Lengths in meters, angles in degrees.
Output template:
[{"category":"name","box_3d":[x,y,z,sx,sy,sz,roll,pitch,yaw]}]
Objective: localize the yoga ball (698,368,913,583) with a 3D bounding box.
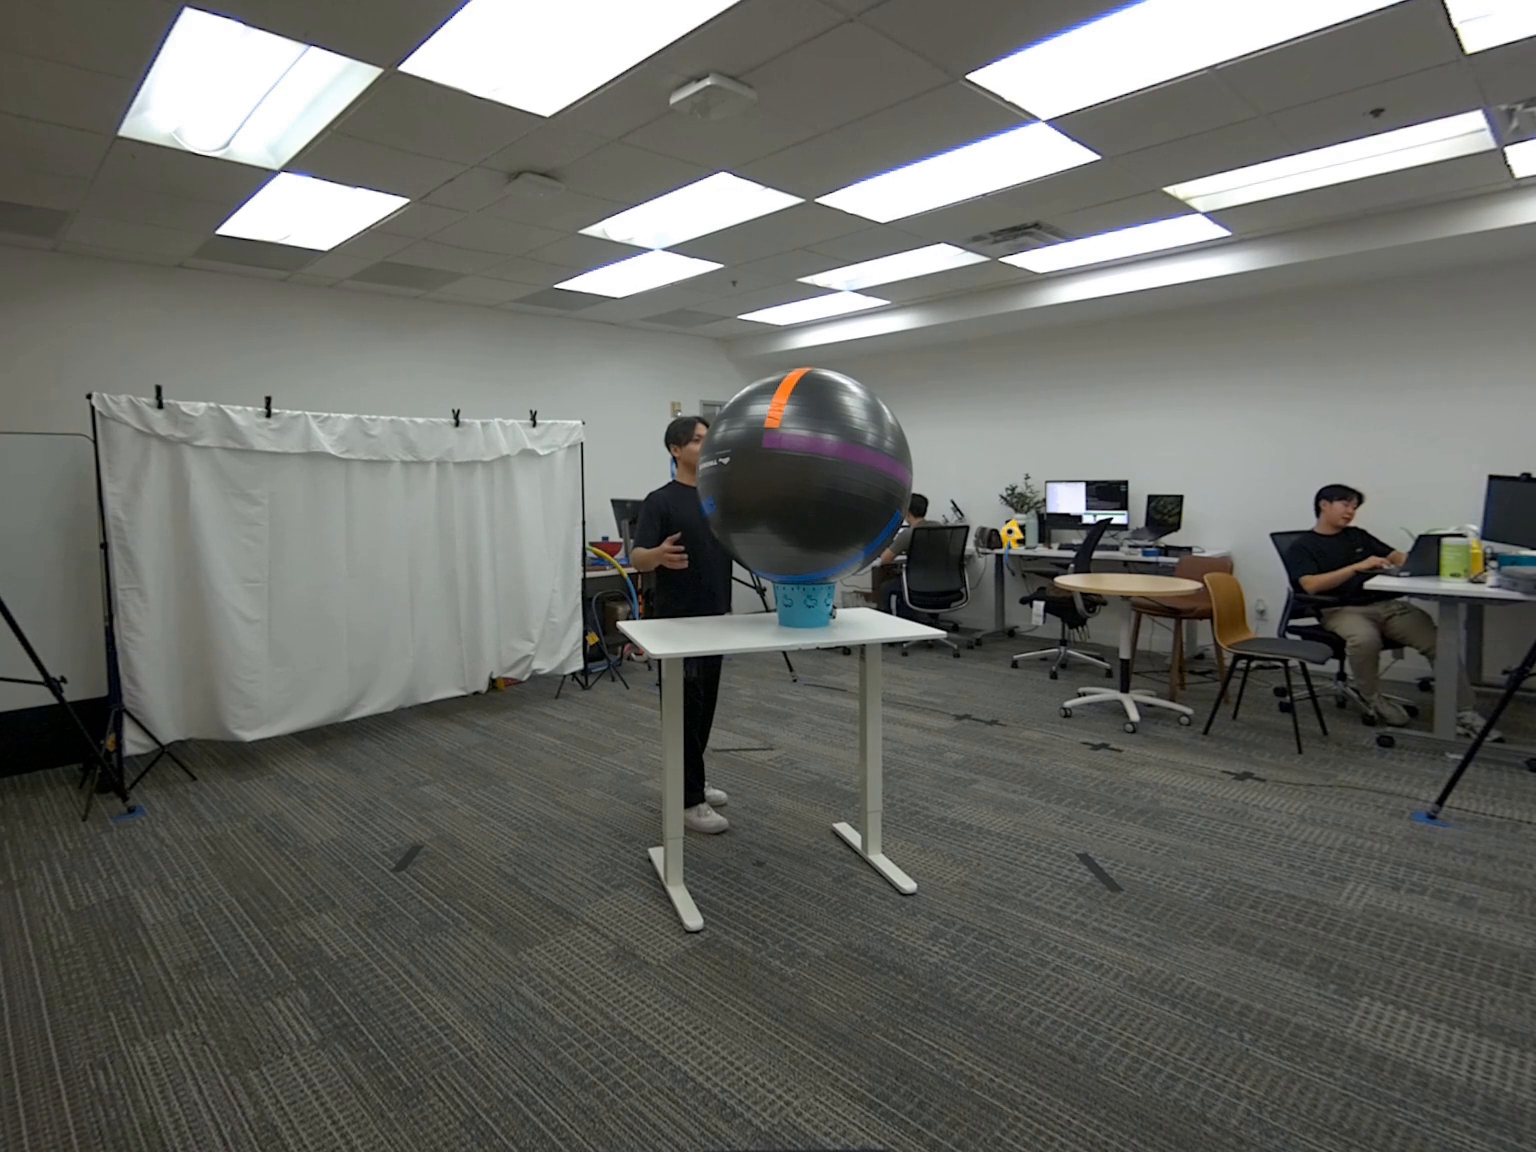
[{"category":"yoga ball","box_3d":[0.127,-0.345,3.007,0.757,0.755,0.762,-1,5,-2]}]
